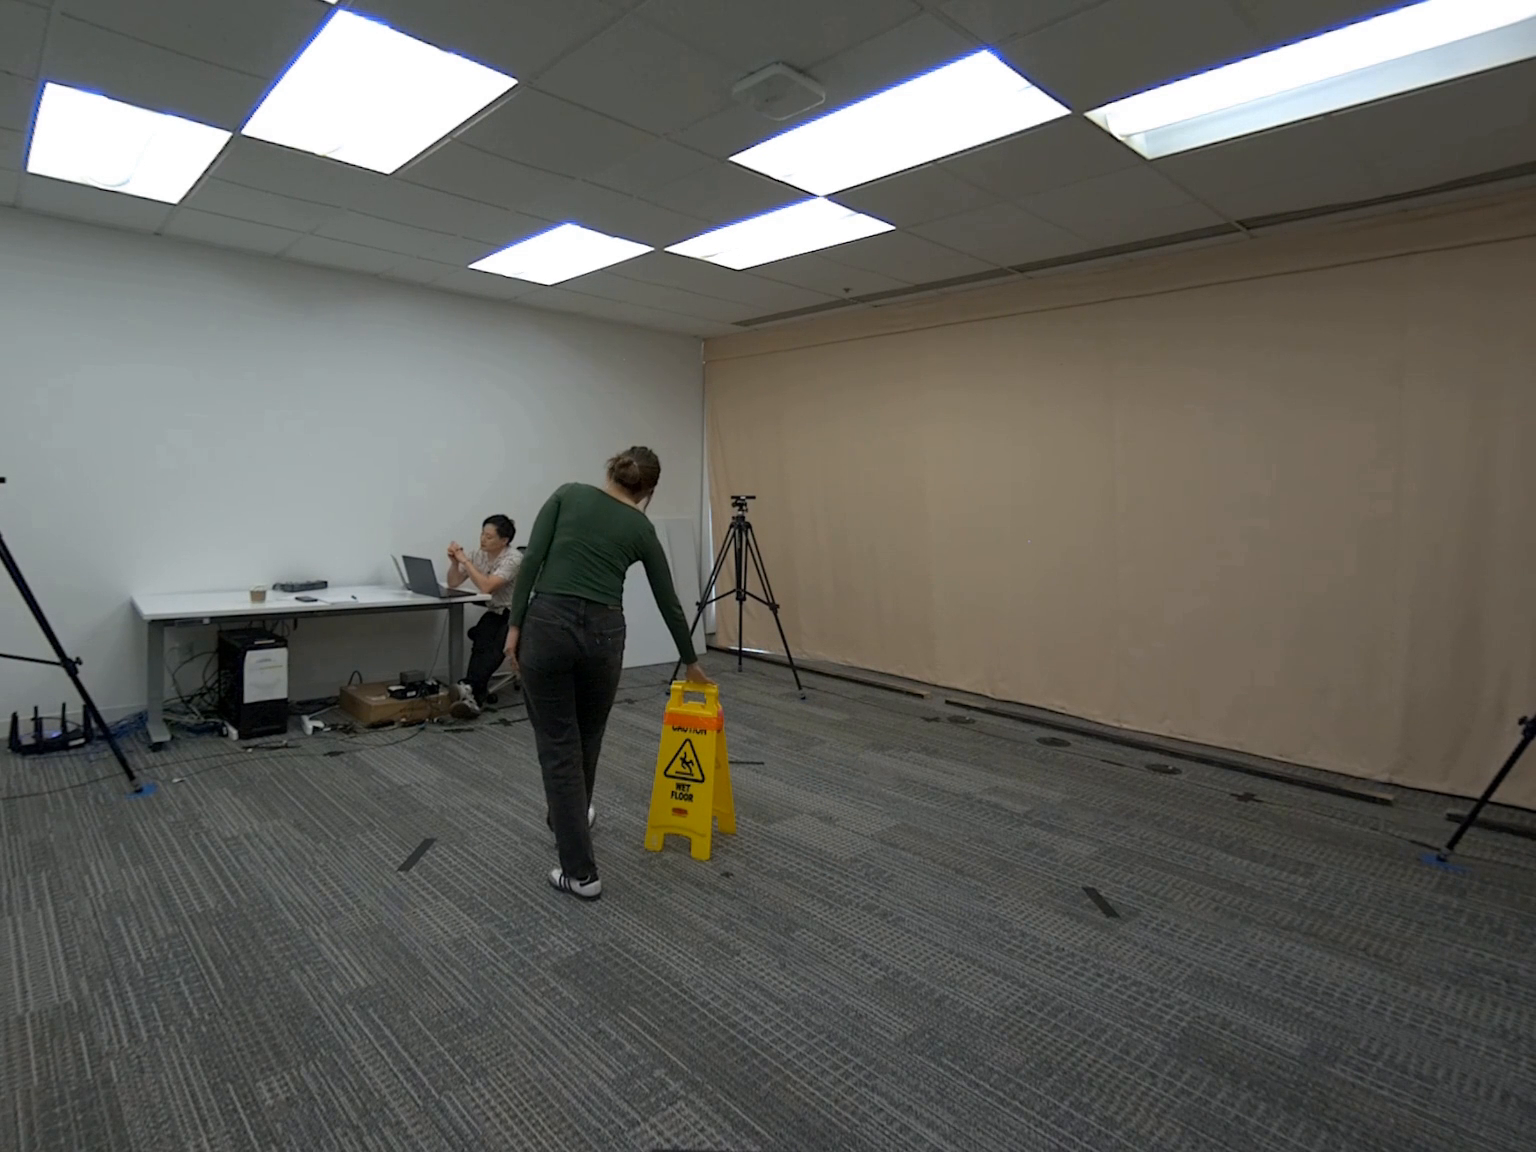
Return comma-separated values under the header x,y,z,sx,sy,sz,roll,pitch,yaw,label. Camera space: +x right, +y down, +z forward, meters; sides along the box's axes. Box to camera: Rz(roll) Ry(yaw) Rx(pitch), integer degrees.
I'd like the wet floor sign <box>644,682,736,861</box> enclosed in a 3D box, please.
x,y,z,sx,sy,sz,roll,pitch,yaw,label
-0.313,0.750,3.387,0.287,0.644,0.286,1,4,20,wet floor sign
